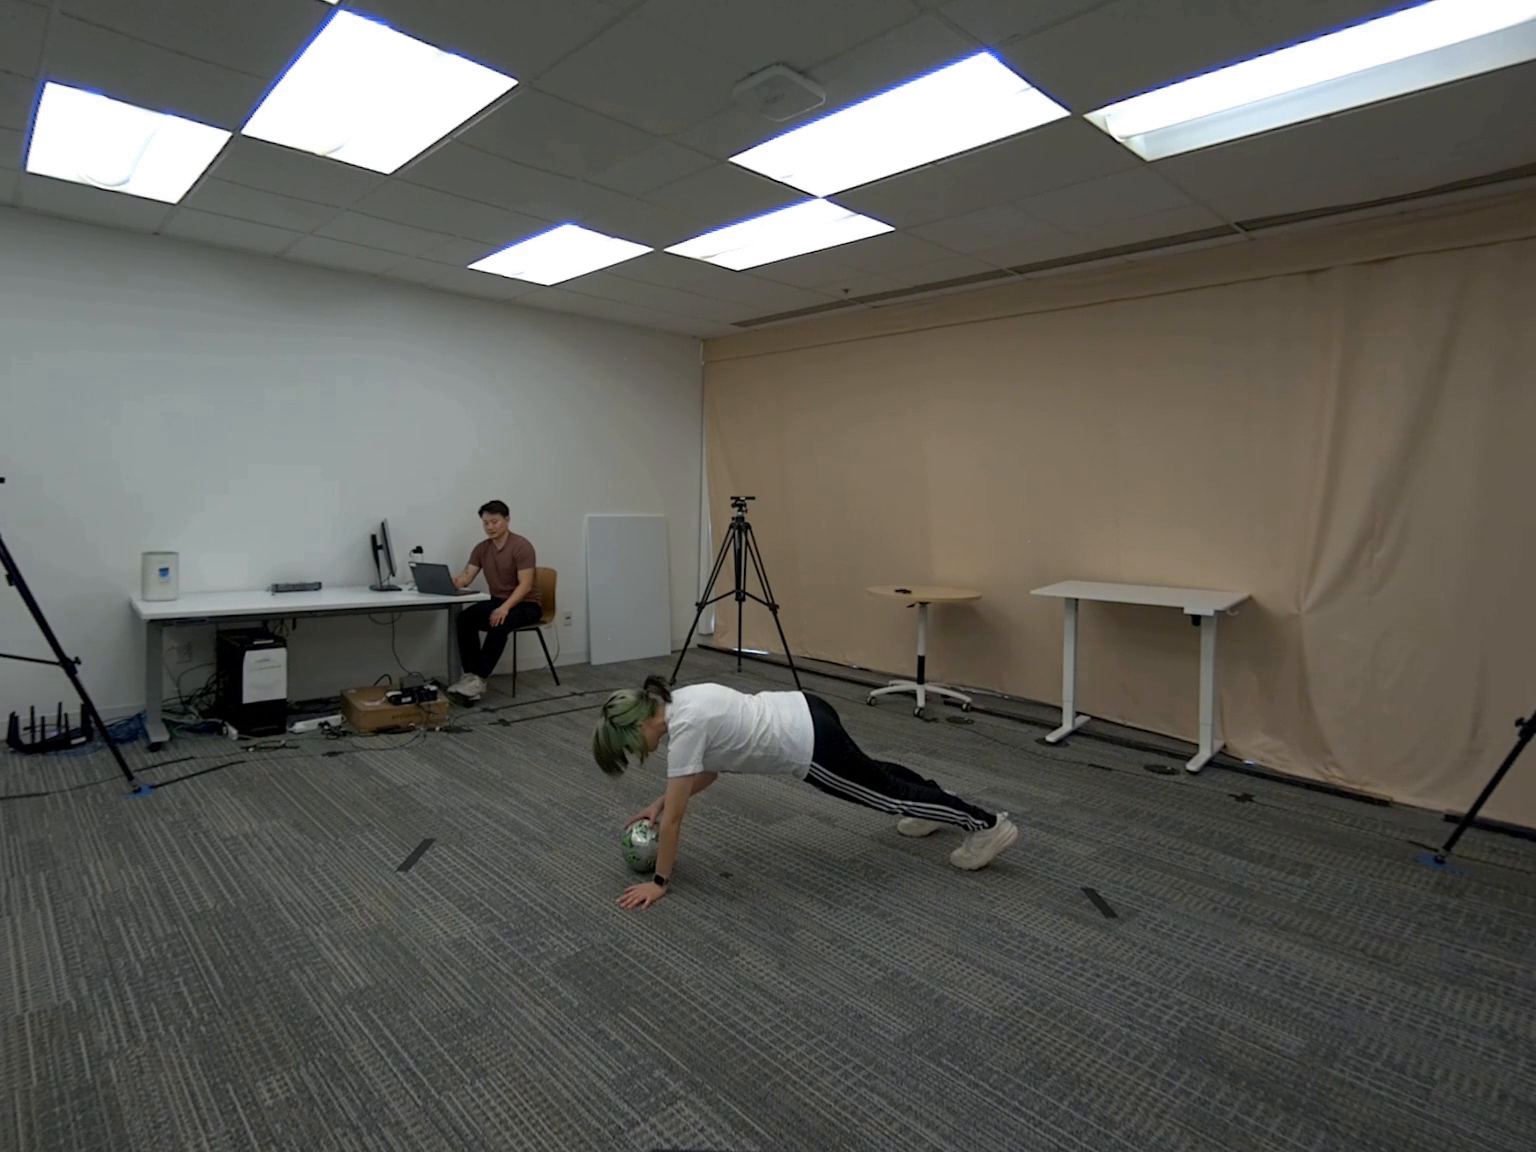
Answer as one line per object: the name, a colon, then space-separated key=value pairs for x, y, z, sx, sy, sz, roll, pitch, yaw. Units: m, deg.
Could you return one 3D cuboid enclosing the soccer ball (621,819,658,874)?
soccer ball: x=-0.459 y=0.993 z=3.146 sx=0.187 sy=0.187 sz=0.188 roll=1 pitch=4 yaw=-1
